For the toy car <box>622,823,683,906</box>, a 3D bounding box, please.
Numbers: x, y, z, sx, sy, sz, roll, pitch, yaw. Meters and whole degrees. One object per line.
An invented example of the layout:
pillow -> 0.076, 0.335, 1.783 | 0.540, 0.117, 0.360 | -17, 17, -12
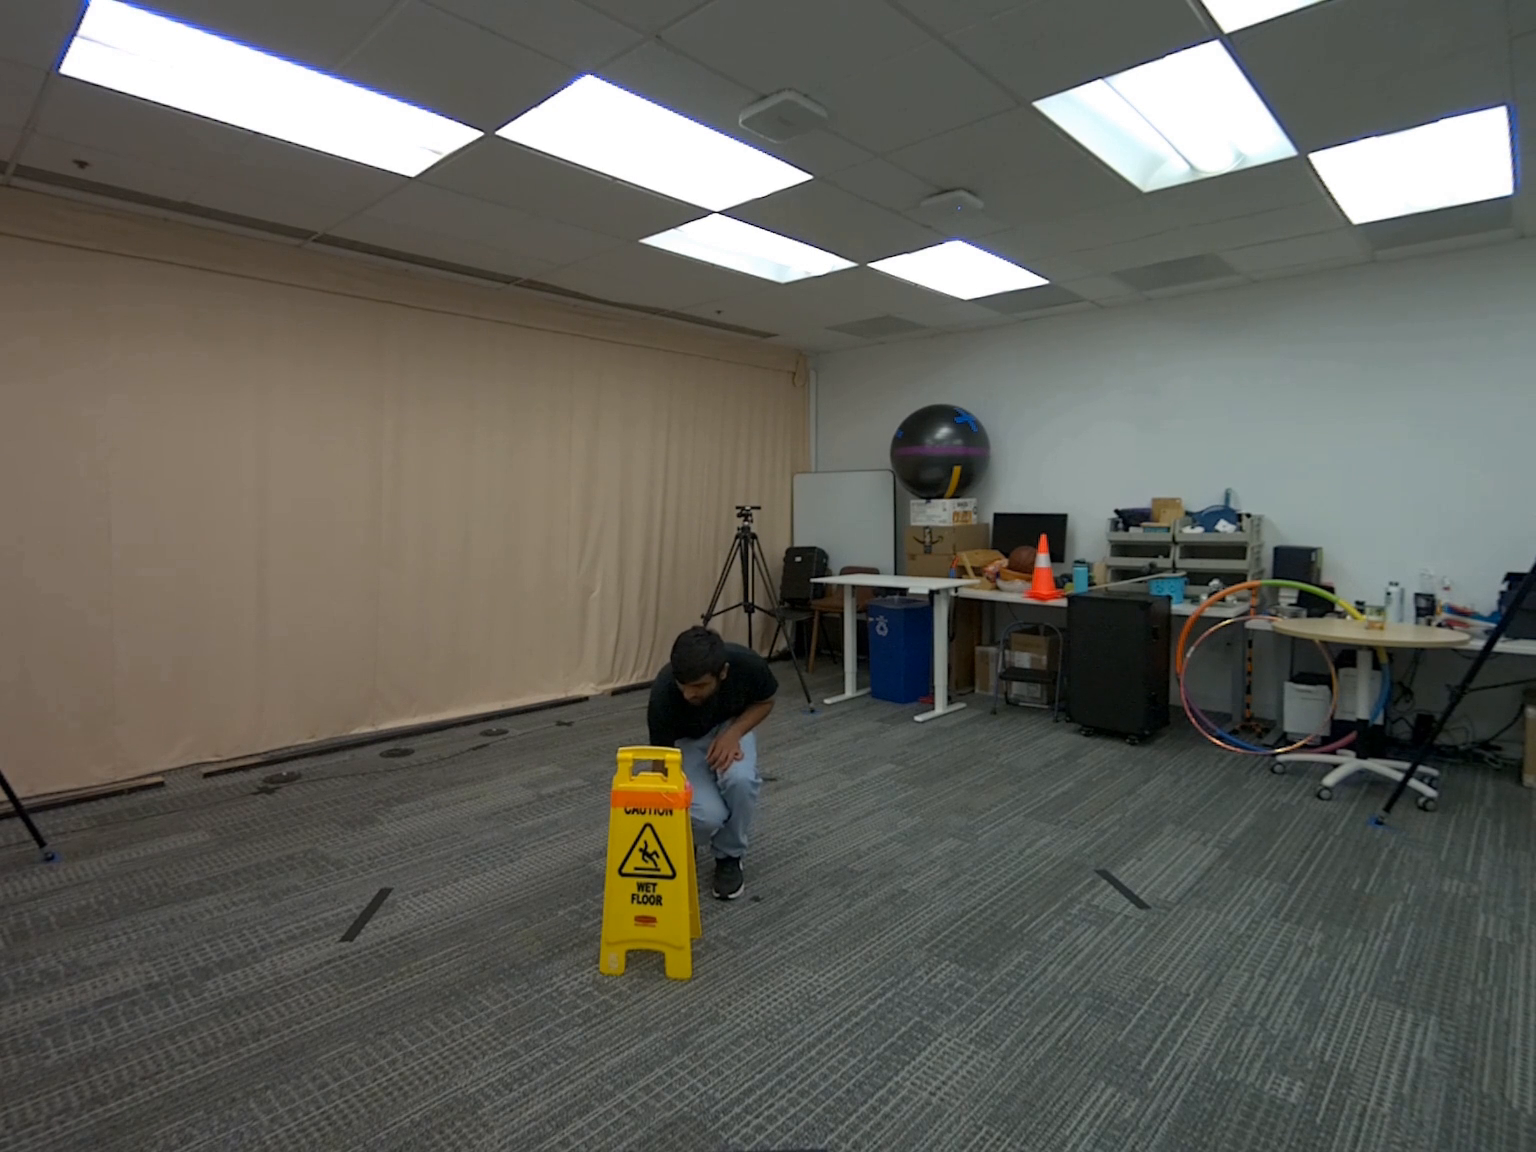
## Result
toy car -> -0.371, 0.930, 2.729 | 0.131, 0.250, 0.084 | -8, 26, 6
